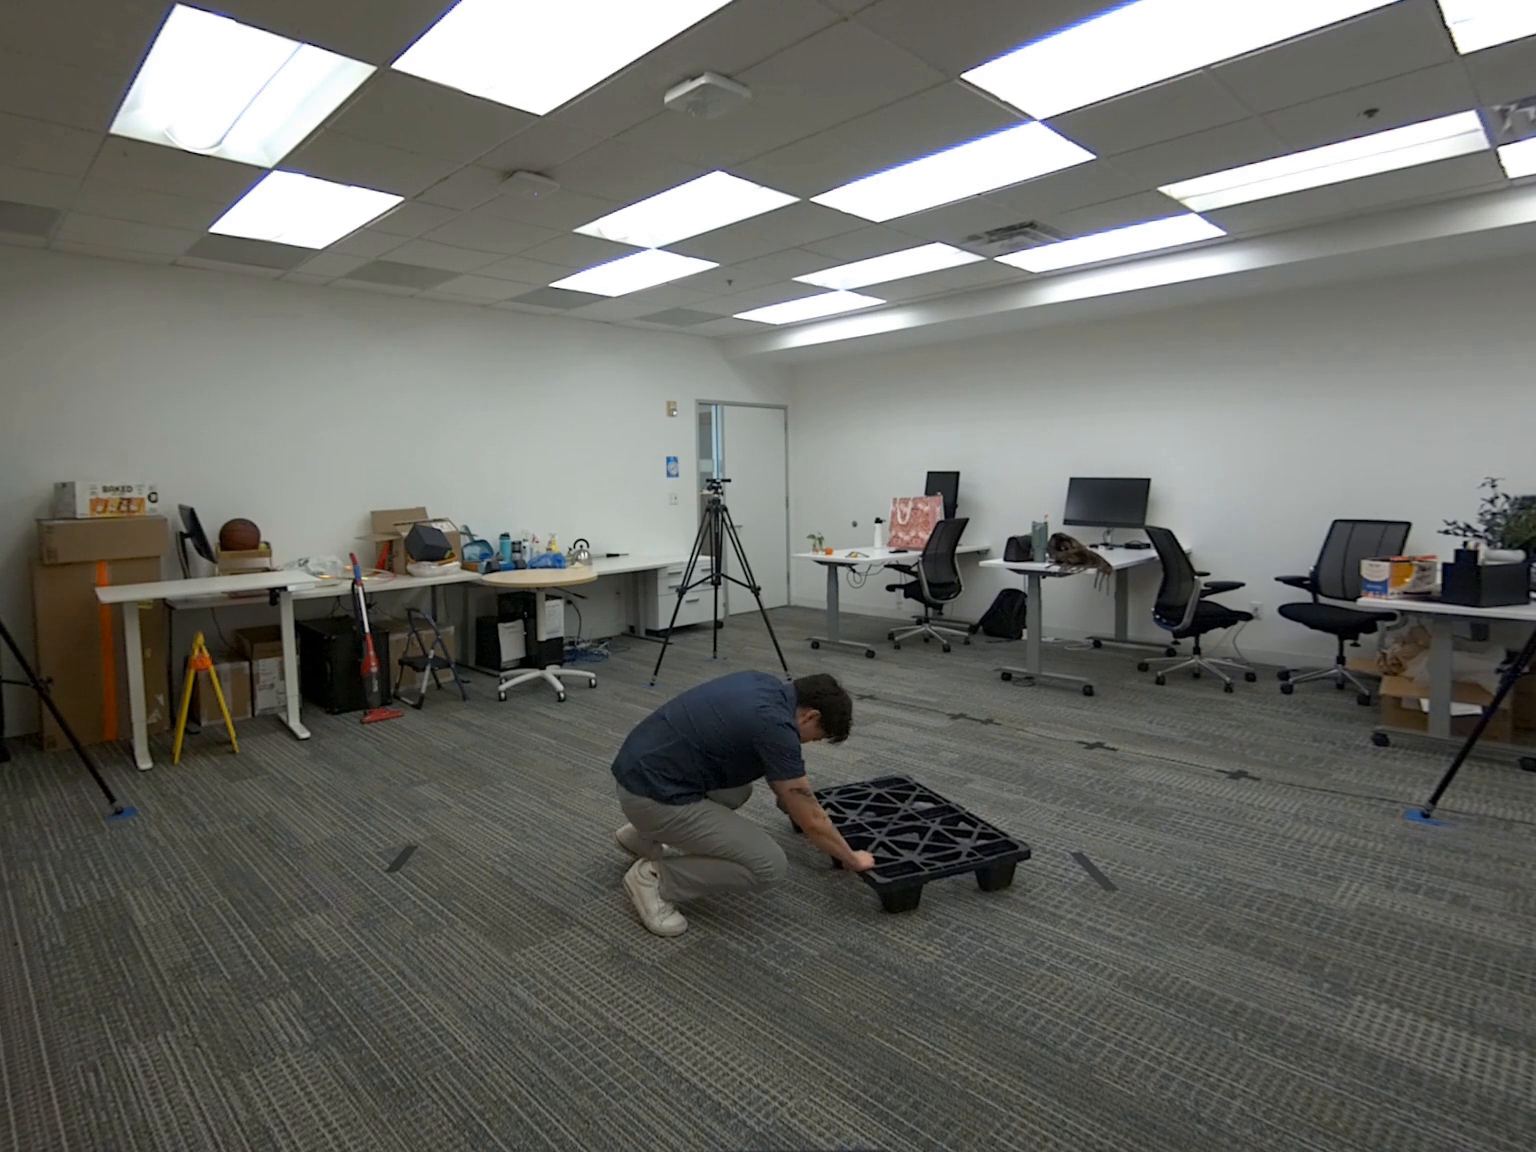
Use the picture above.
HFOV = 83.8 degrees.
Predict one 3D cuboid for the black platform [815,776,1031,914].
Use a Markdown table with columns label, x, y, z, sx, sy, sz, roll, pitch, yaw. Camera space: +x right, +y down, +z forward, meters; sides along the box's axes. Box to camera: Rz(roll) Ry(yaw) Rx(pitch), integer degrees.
| label | x | y | z | sx | sy | sz | roll | pitch | yaw |
| --- | --- | --- | --- | --- | --- | --- | --- | --- | --- |
| black platform | 0.462 | 0.960 | 3.148 | 0.594 | 0.142 | 0.825 | -4 | 7 | -23 |
